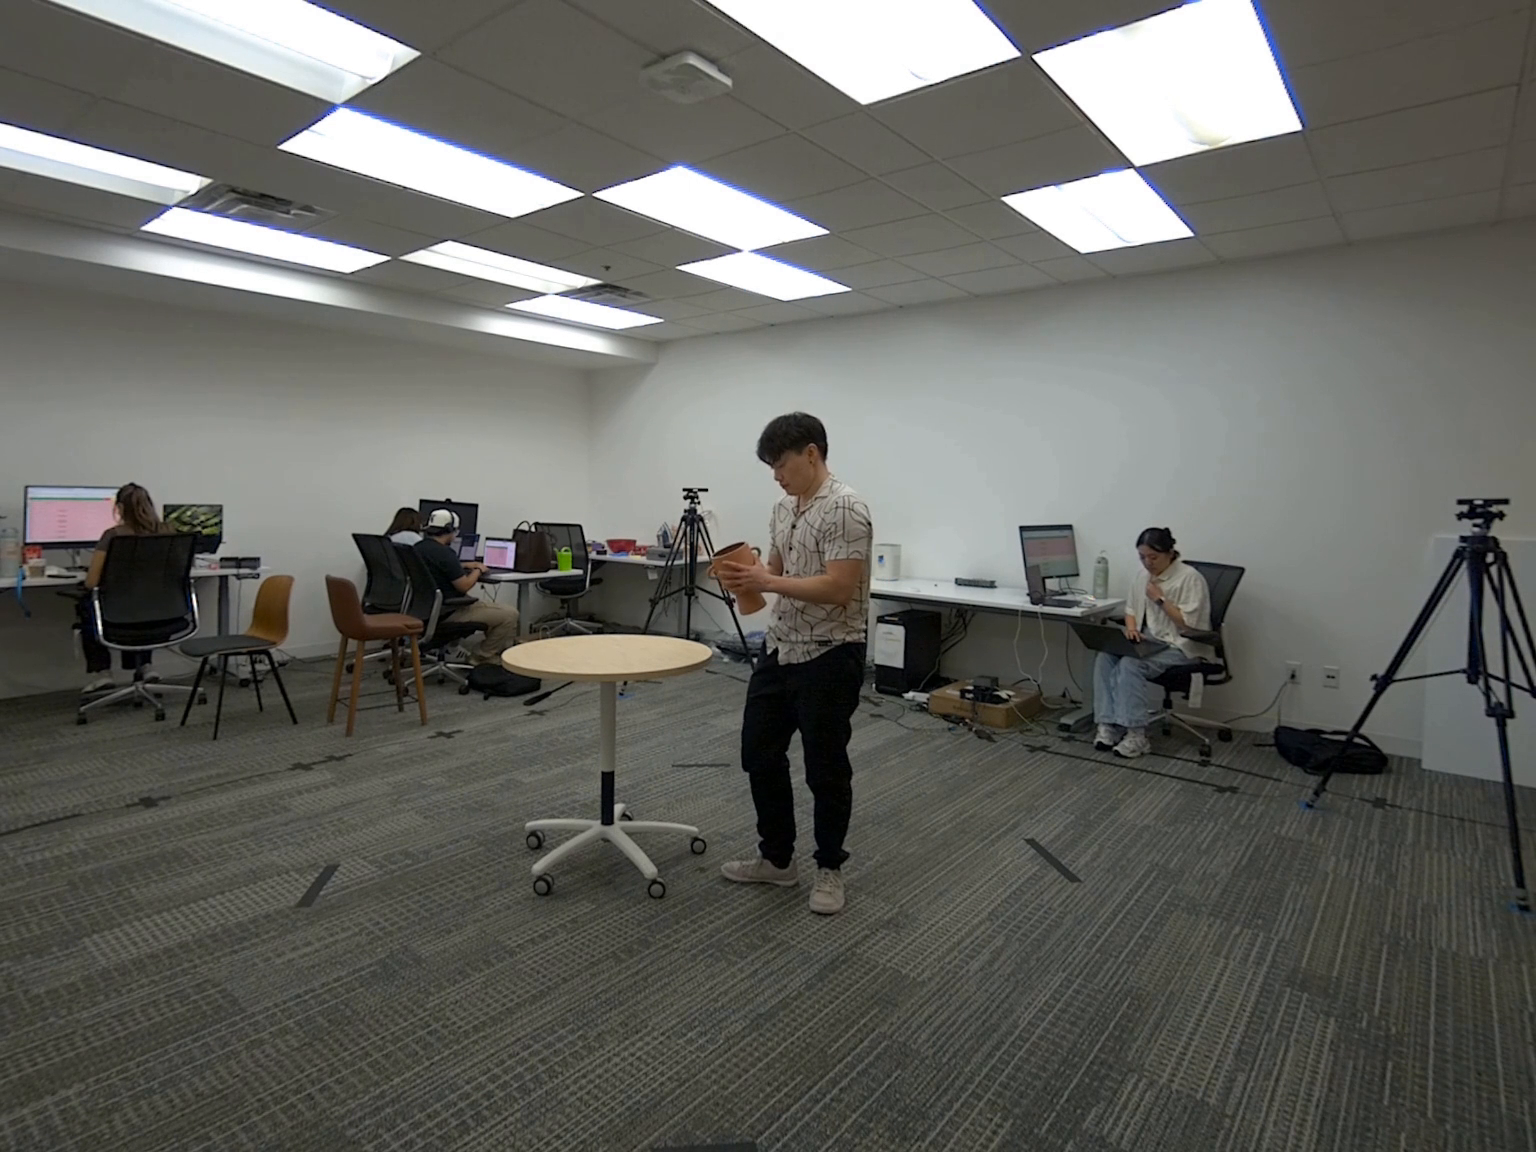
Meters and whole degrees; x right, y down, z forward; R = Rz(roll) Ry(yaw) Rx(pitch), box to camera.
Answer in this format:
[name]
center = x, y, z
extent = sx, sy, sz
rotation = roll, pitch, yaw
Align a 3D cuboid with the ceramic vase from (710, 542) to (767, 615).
[ceramic vase]
center = -0.102, 0.005, 2.830
extent = 0.161, 0.217, 0.134
rotation = -18, 11, 26
